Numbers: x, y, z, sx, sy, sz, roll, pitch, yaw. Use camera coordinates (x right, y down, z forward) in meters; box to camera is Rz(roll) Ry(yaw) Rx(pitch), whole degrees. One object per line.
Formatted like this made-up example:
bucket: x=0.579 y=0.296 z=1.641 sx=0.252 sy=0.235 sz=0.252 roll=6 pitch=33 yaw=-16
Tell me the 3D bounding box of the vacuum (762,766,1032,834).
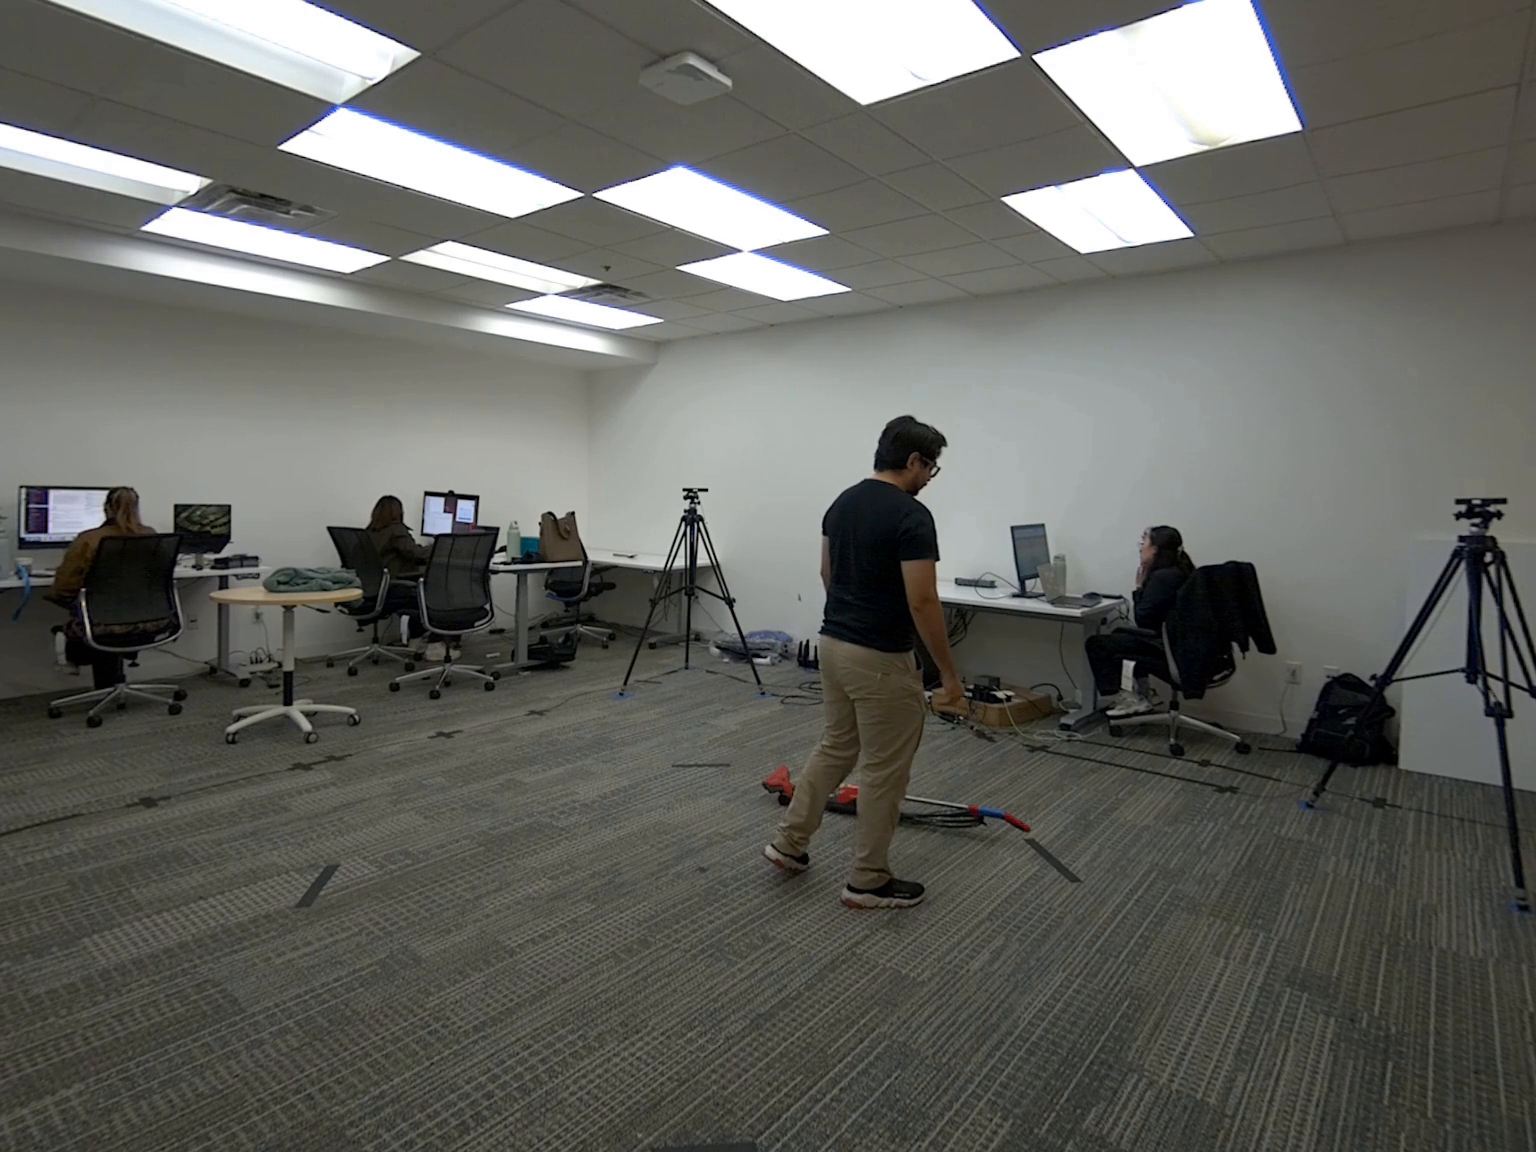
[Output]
vacuum: x=0.535 y=0.976 z=3.609 sx=1.075 sy=0.143 sz=0.248 roll=4 pitch=7 yaw=24
